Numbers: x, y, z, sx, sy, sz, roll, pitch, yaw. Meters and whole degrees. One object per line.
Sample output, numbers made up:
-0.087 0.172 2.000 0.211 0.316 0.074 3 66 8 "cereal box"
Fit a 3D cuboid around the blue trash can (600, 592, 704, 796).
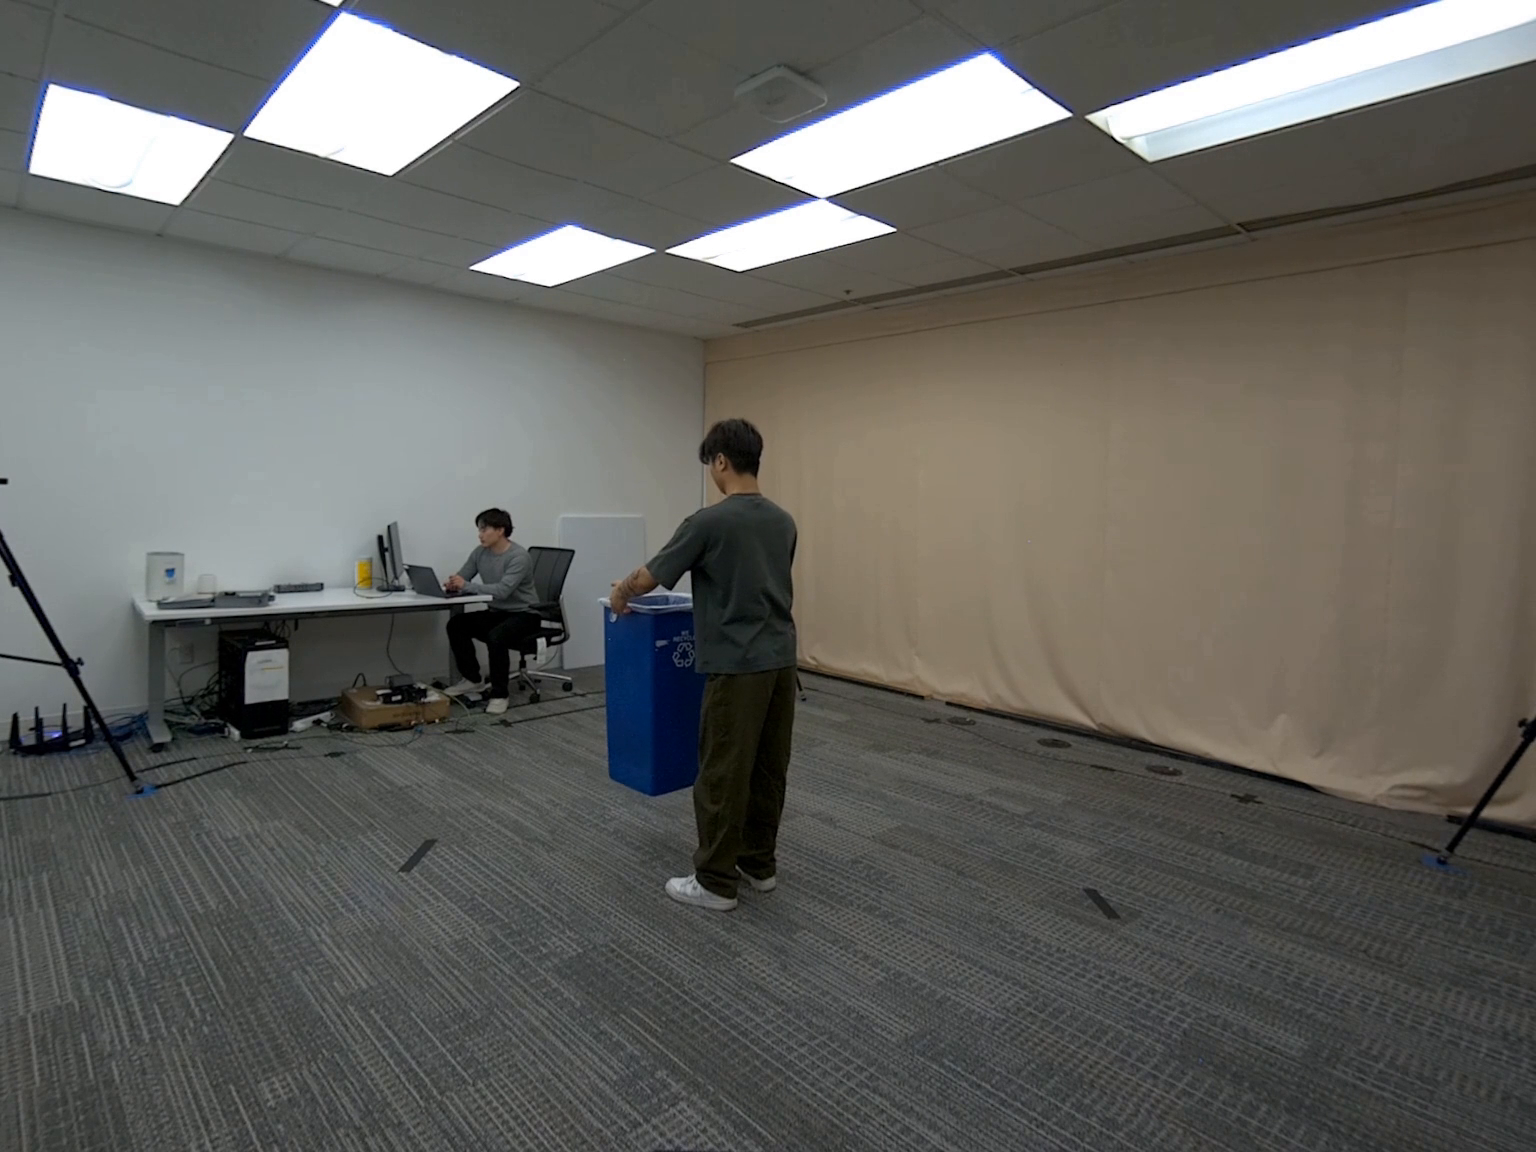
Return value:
-0.440 0.452 3.317 0.369 0.711 0.384 -2 5 -44 "blue trash can"
